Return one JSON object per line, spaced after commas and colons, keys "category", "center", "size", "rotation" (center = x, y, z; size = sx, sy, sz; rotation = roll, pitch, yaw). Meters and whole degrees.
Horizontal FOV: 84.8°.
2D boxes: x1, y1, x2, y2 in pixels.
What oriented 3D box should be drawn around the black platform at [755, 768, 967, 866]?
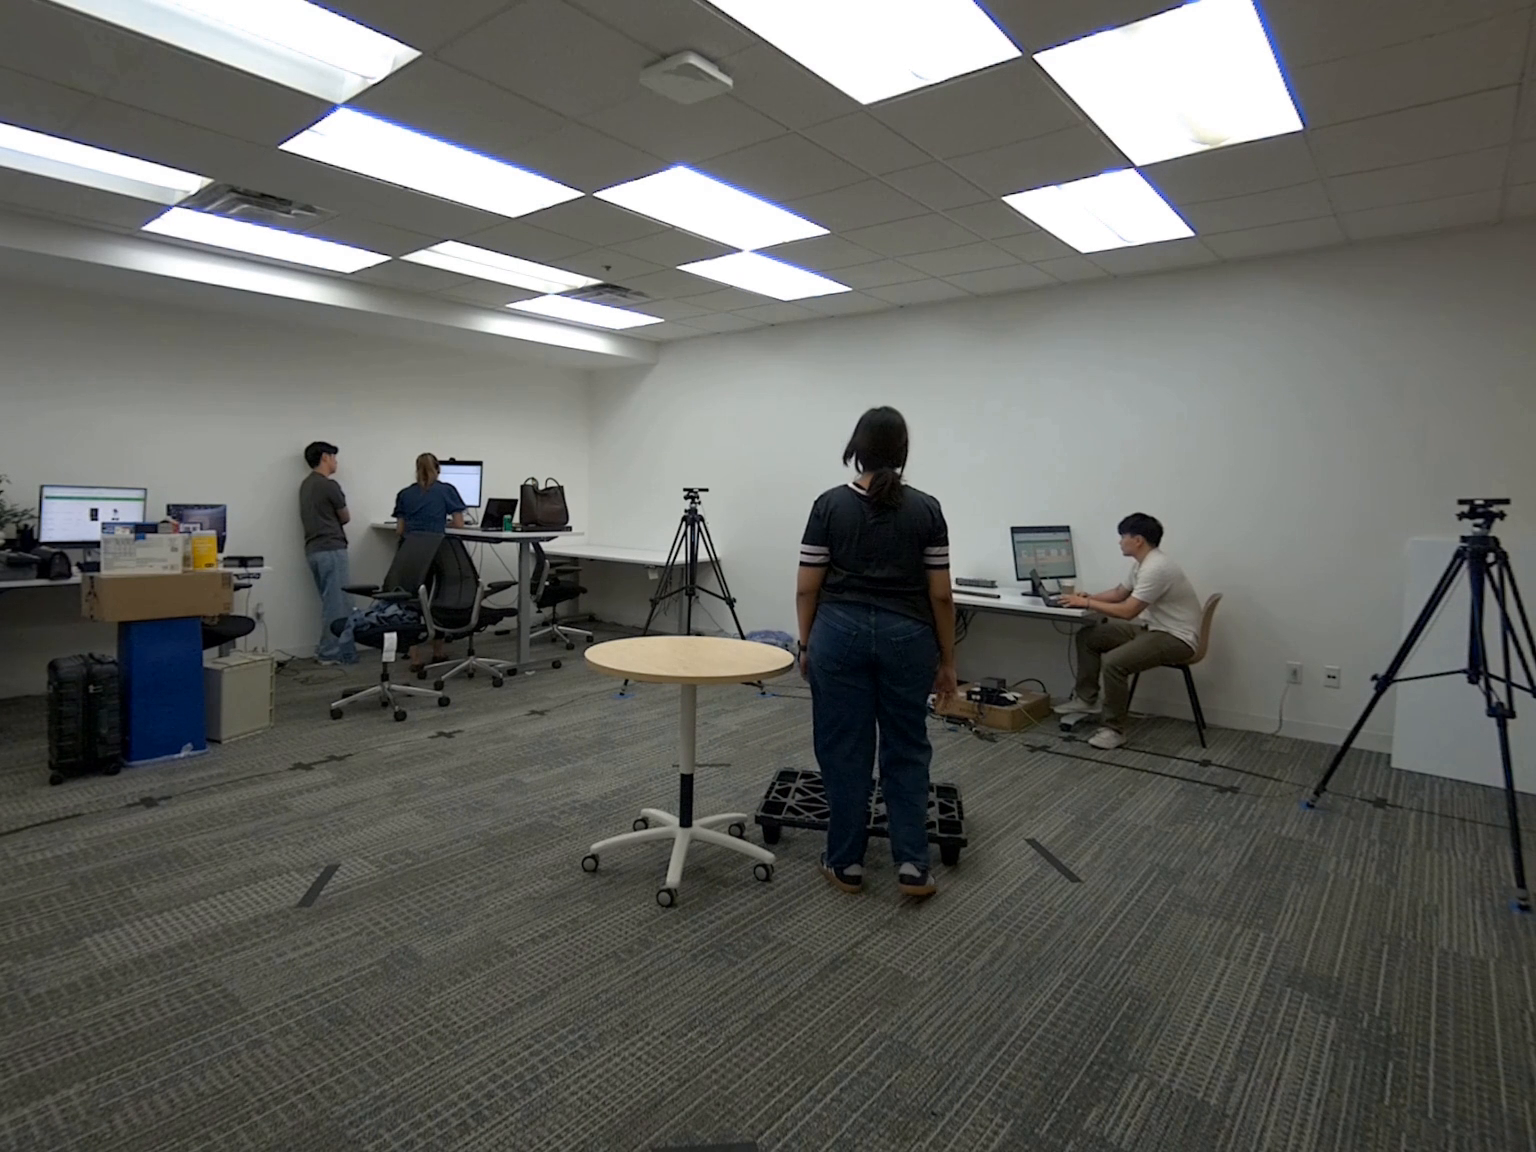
{"category": "black platform", "center": [0.383, 0.977, 3.488], "size": [0.817, 0.143, 0.599], "rotation": [2, 6, 12]}
